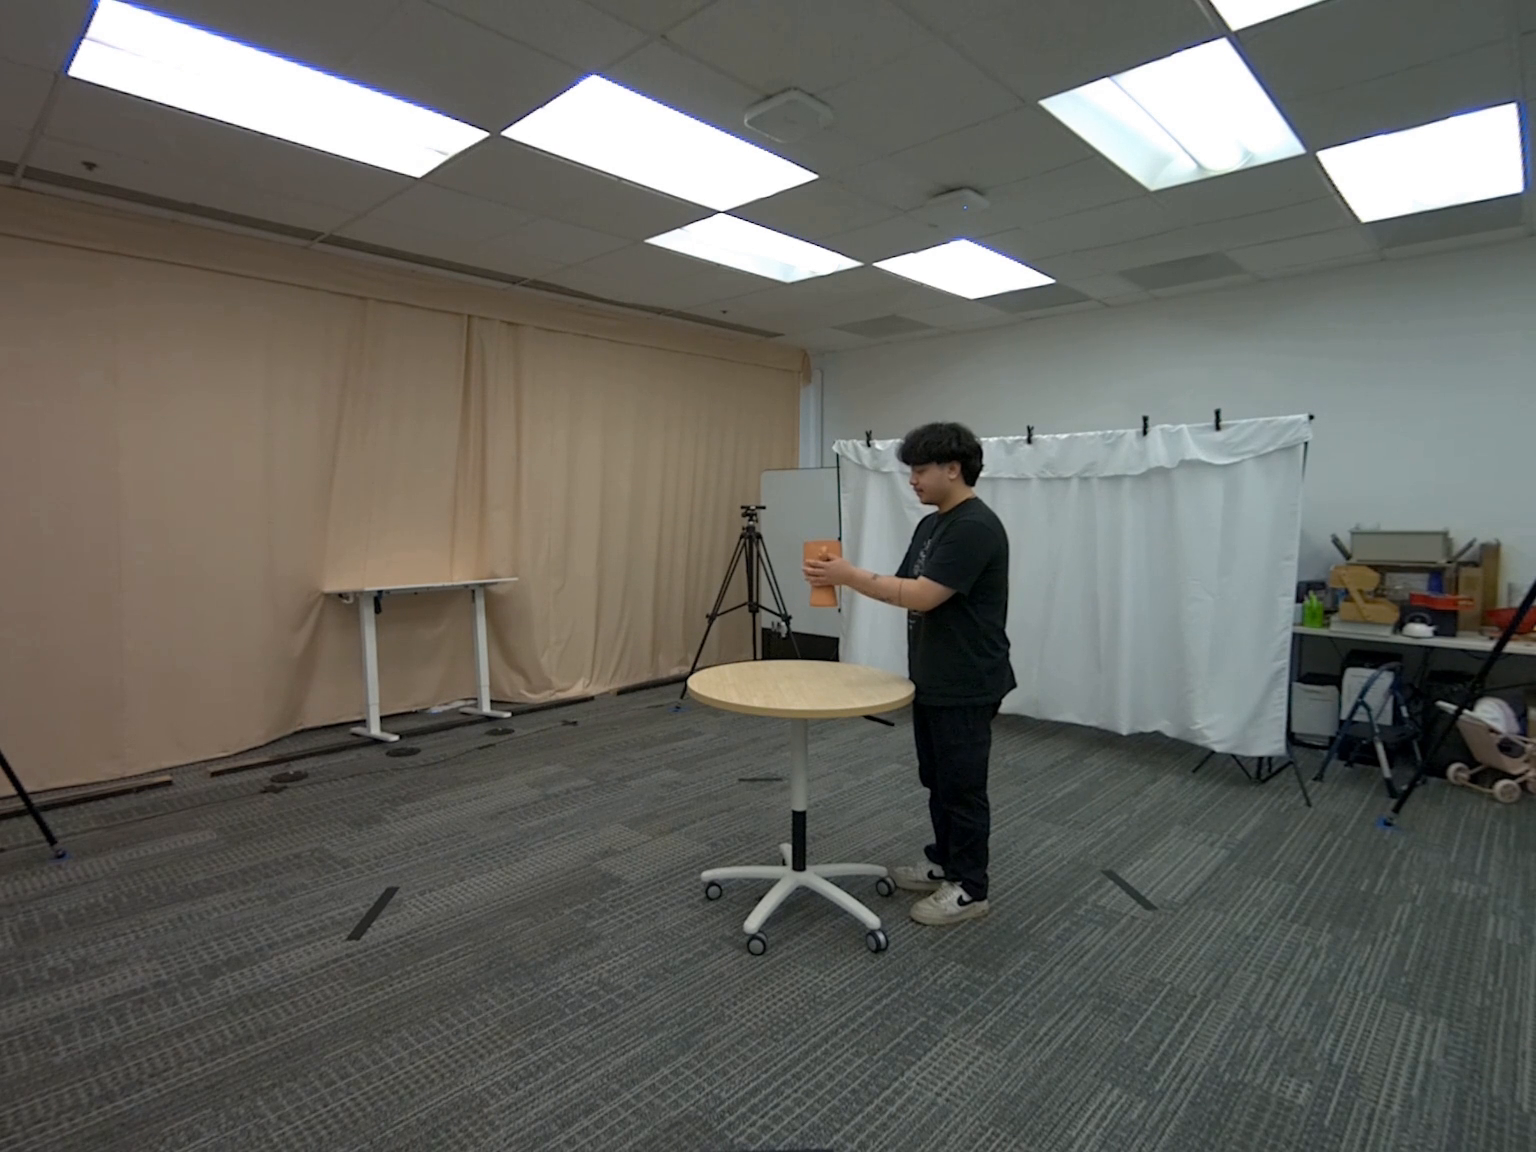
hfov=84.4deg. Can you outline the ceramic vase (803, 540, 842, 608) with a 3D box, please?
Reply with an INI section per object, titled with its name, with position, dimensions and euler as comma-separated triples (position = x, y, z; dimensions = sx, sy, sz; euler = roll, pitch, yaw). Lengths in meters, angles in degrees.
[ceramic vase]
position = 0.200, -0.006, 2.877
dimensions = 0.139, 0.220, 0.154
euler = -5, -5, 40
